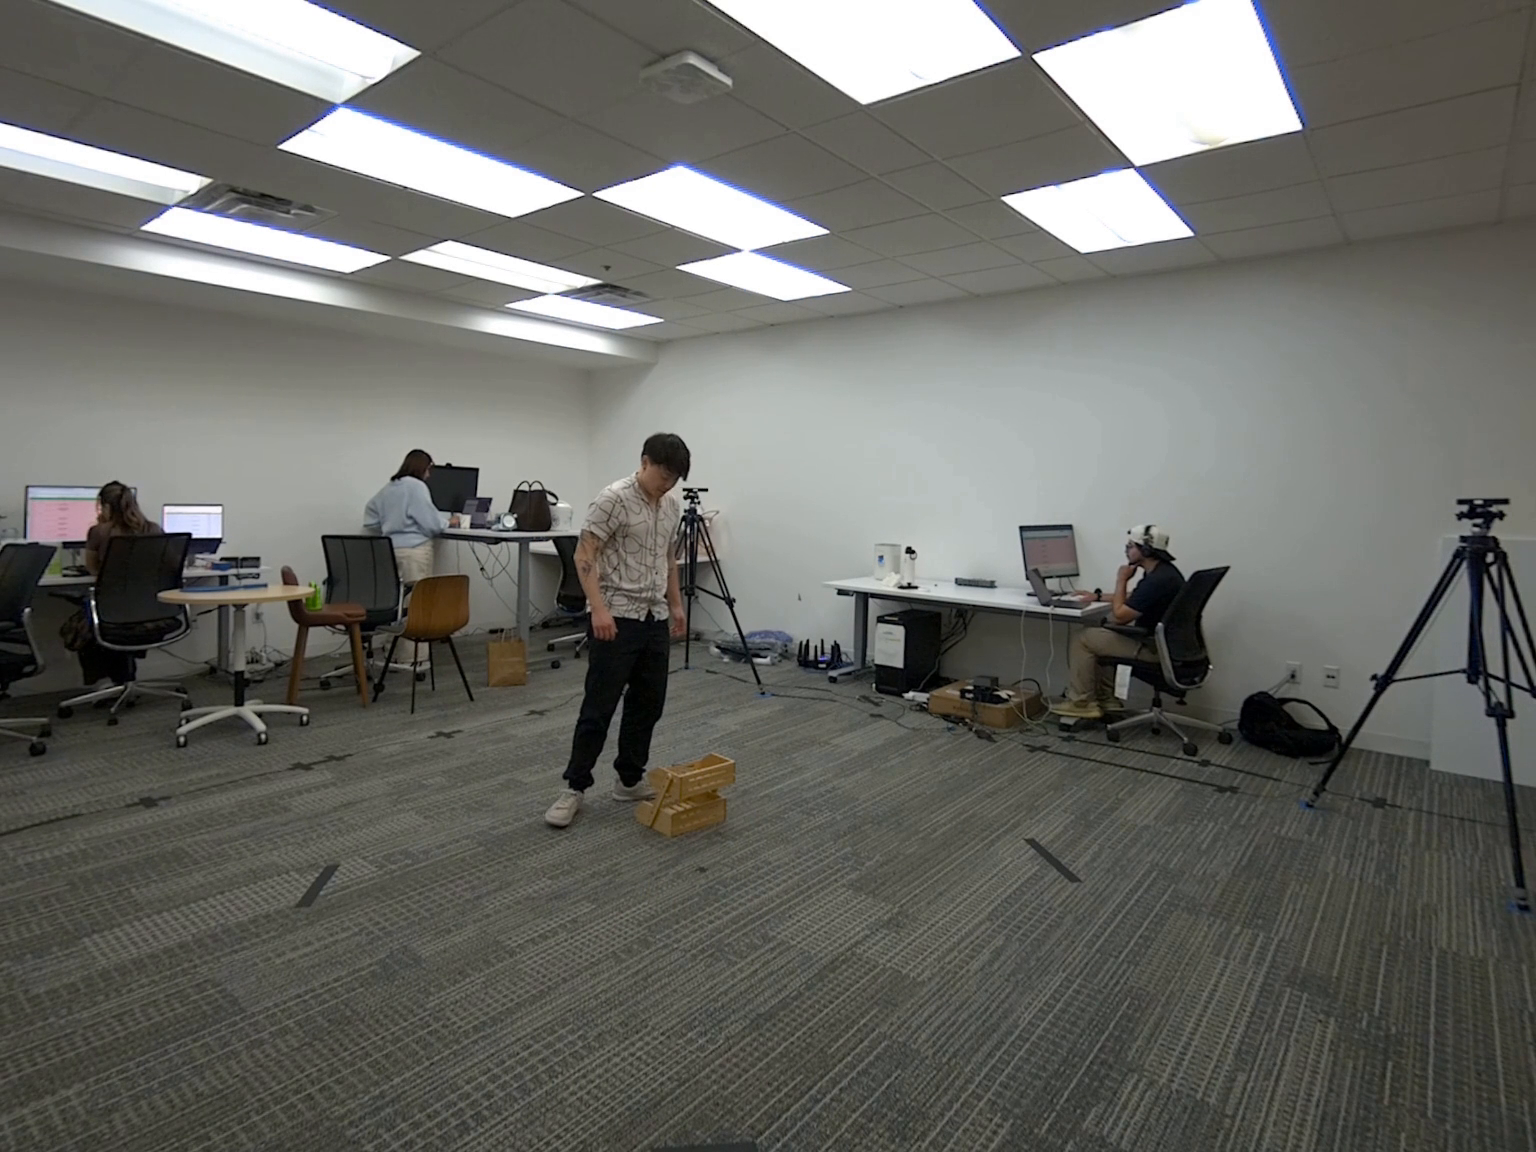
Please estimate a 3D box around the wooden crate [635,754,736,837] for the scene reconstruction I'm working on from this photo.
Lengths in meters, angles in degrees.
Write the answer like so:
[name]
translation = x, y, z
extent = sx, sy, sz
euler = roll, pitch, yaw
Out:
[wooden crate]
translation = -0.360, 0.891, 3.561
extent = 0.315, 0.272, 0.312
euler = -4, 7, -44
